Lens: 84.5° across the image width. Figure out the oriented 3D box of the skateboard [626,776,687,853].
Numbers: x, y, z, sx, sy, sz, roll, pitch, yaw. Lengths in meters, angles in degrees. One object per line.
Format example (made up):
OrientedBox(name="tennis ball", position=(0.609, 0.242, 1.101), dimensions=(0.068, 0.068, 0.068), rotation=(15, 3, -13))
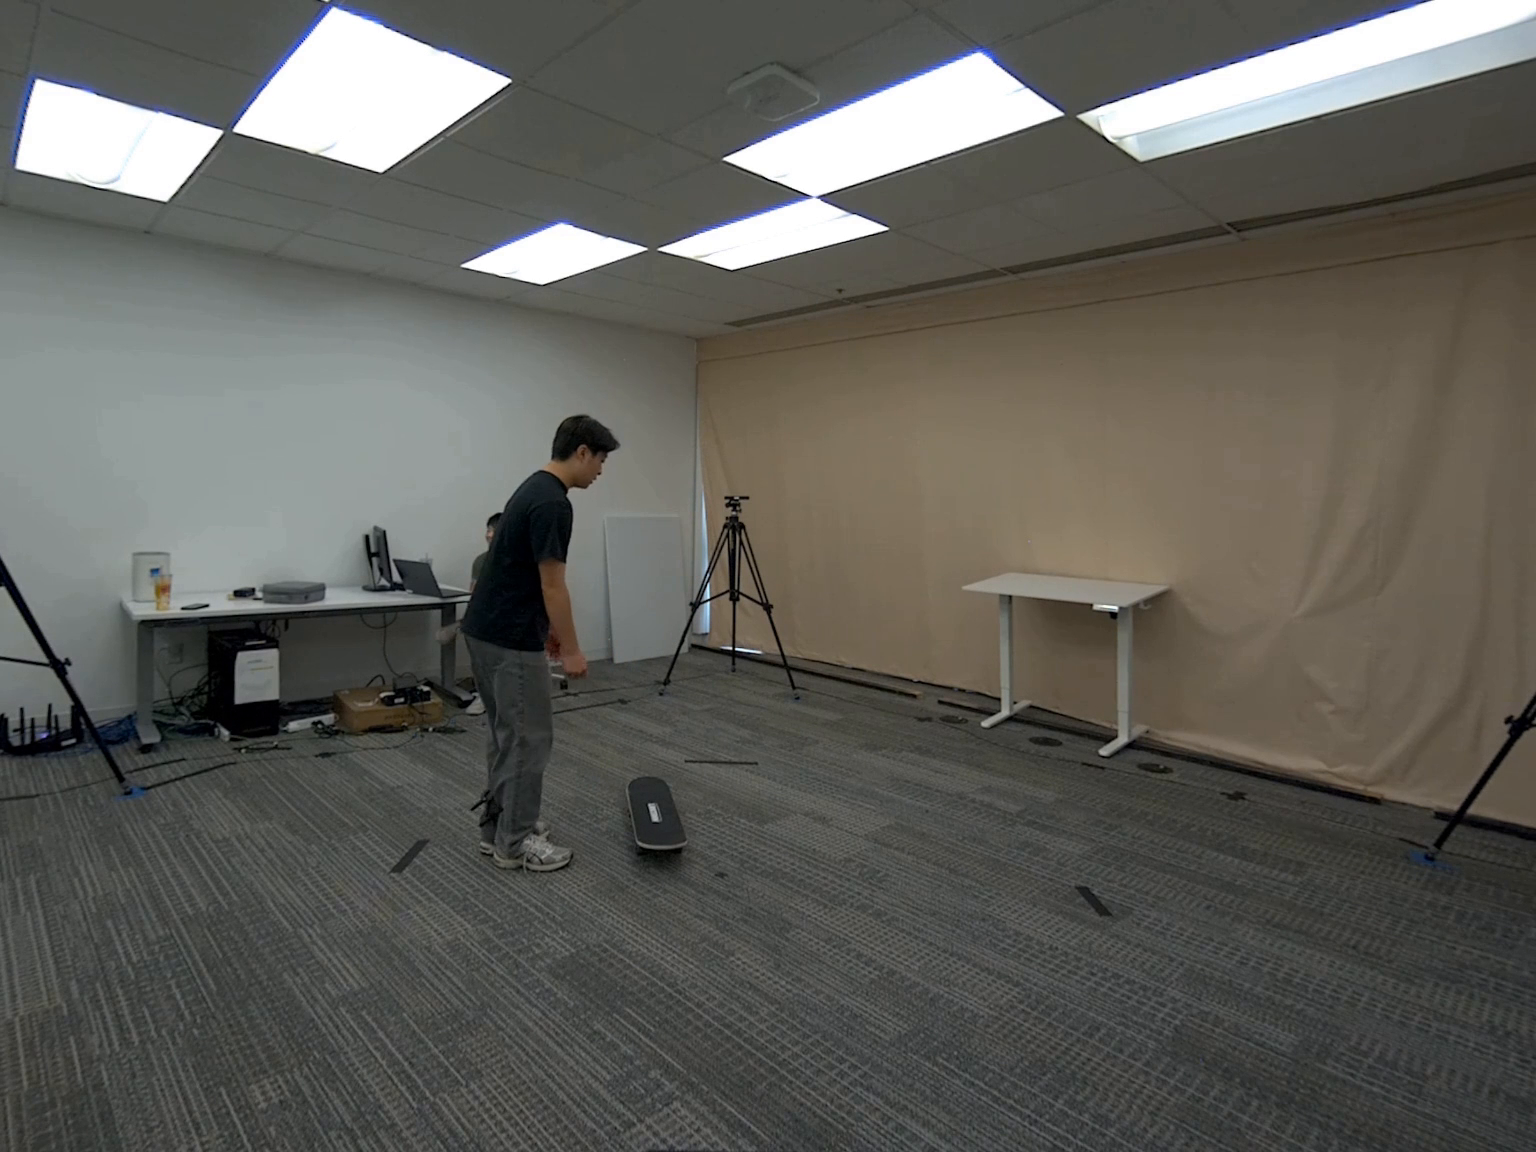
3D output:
OrientedBox(name="skateboard", position=(-0.478, 1.009, 3.473), dimensions=(0.191, 0.110, 0.795), rotation=(0, 6, -13))
